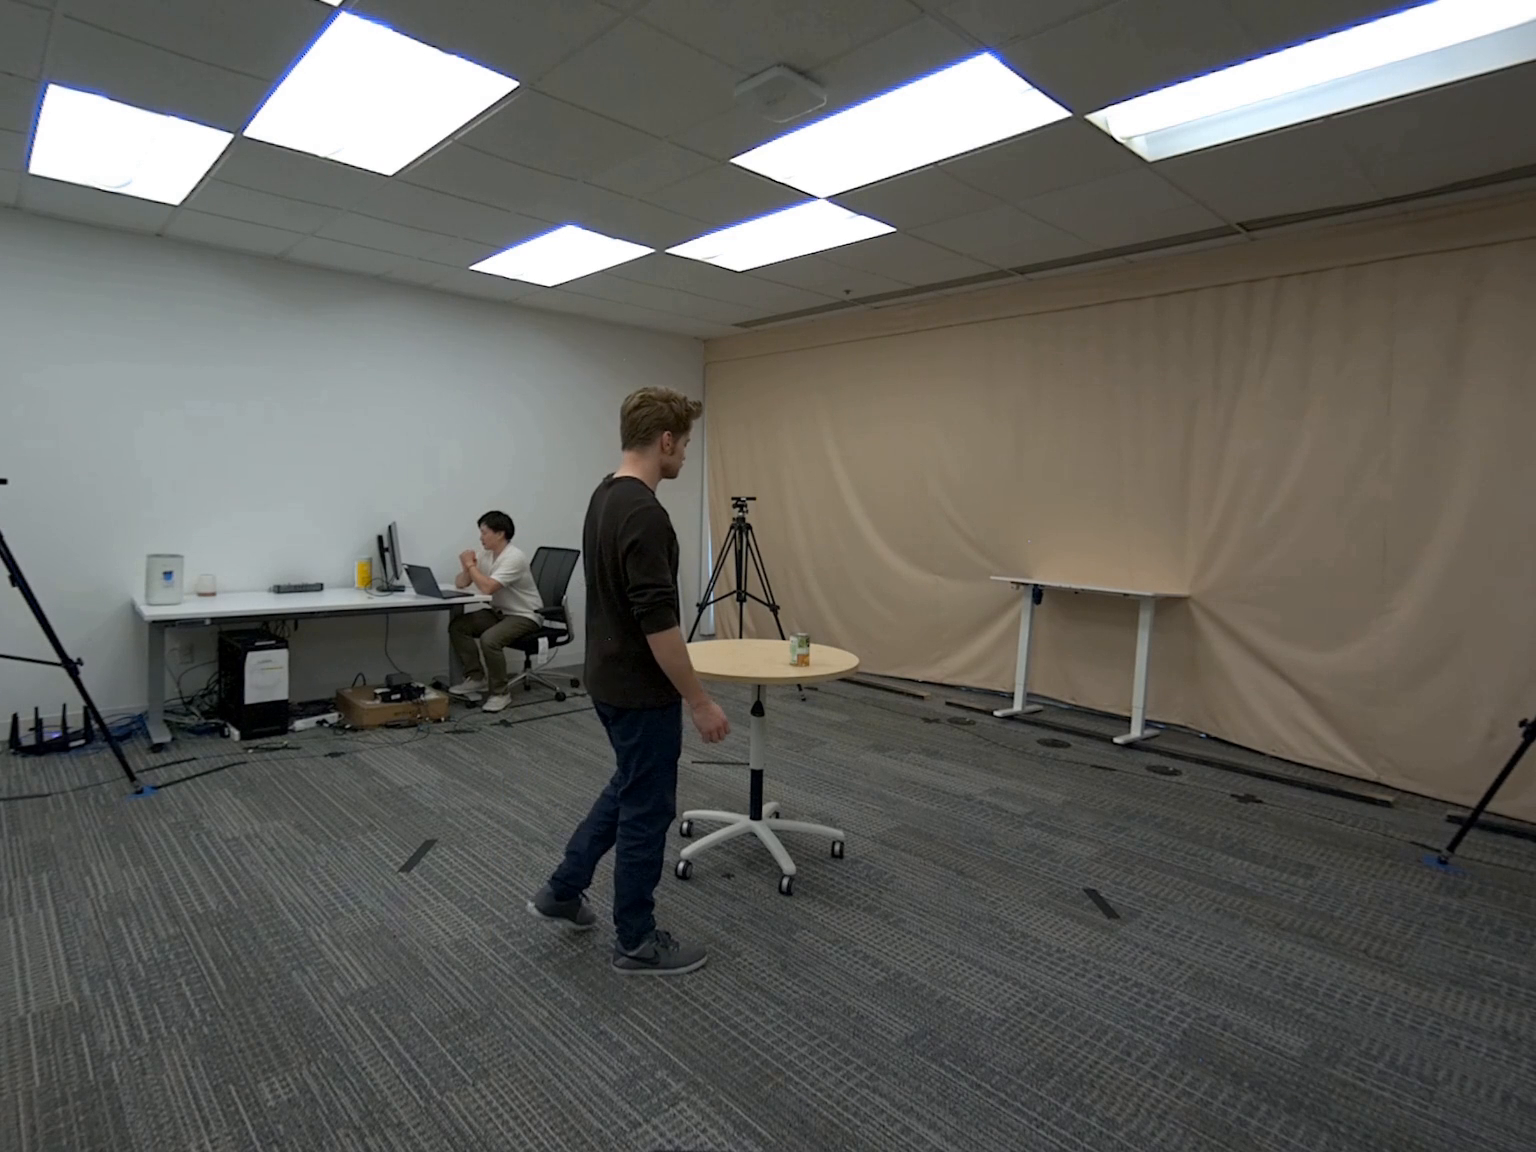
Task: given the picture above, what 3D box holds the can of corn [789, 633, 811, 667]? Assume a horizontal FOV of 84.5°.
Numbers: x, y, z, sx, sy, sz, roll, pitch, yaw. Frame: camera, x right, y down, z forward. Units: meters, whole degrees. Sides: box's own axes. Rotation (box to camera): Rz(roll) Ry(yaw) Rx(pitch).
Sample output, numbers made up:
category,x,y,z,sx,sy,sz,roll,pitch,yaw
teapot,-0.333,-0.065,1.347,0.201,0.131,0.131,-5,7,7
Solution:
category,x,y,z,sx,sy,sz,roll,pitch,yaw
can of corn,0.112,0.273,3.106,0.074,0.111,0.074,0,3,-1
